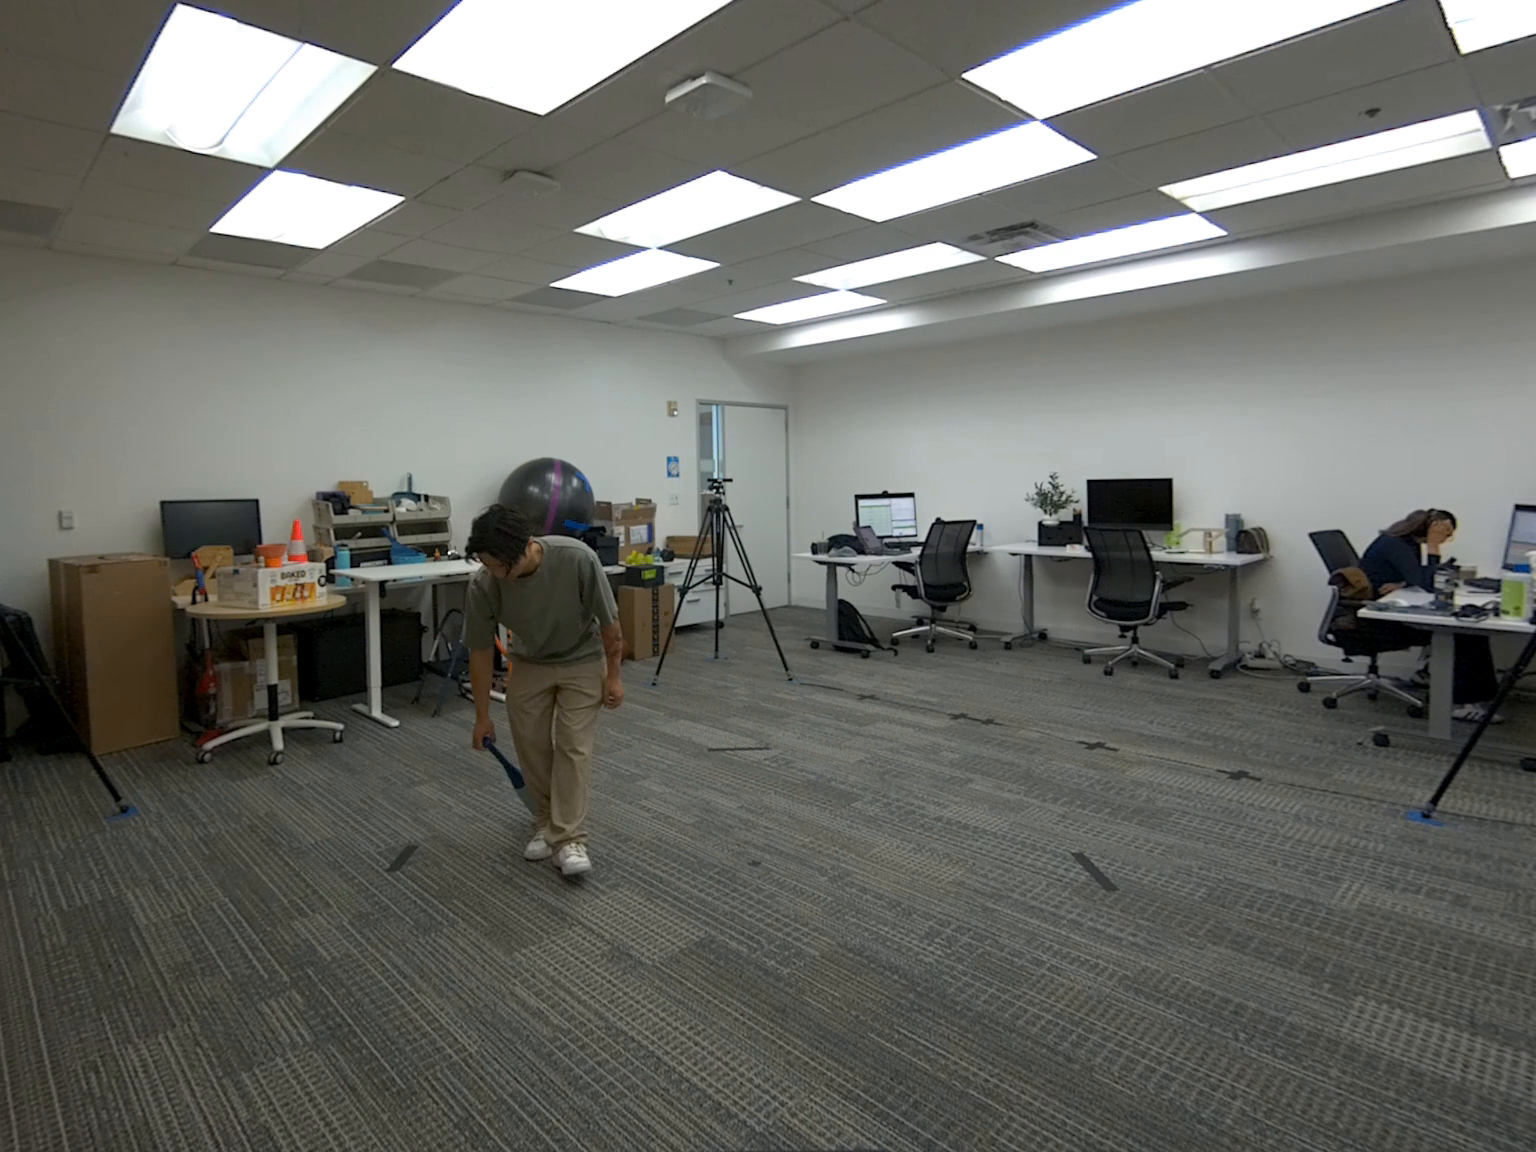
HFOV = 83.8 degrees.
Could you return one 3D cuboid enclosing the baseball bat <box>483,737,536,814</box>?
[{"bbox_3d":[-0.992,0.809,3.387,0.090,0.524,0.091,-16,39,12],"label":"baseball bat"}]
